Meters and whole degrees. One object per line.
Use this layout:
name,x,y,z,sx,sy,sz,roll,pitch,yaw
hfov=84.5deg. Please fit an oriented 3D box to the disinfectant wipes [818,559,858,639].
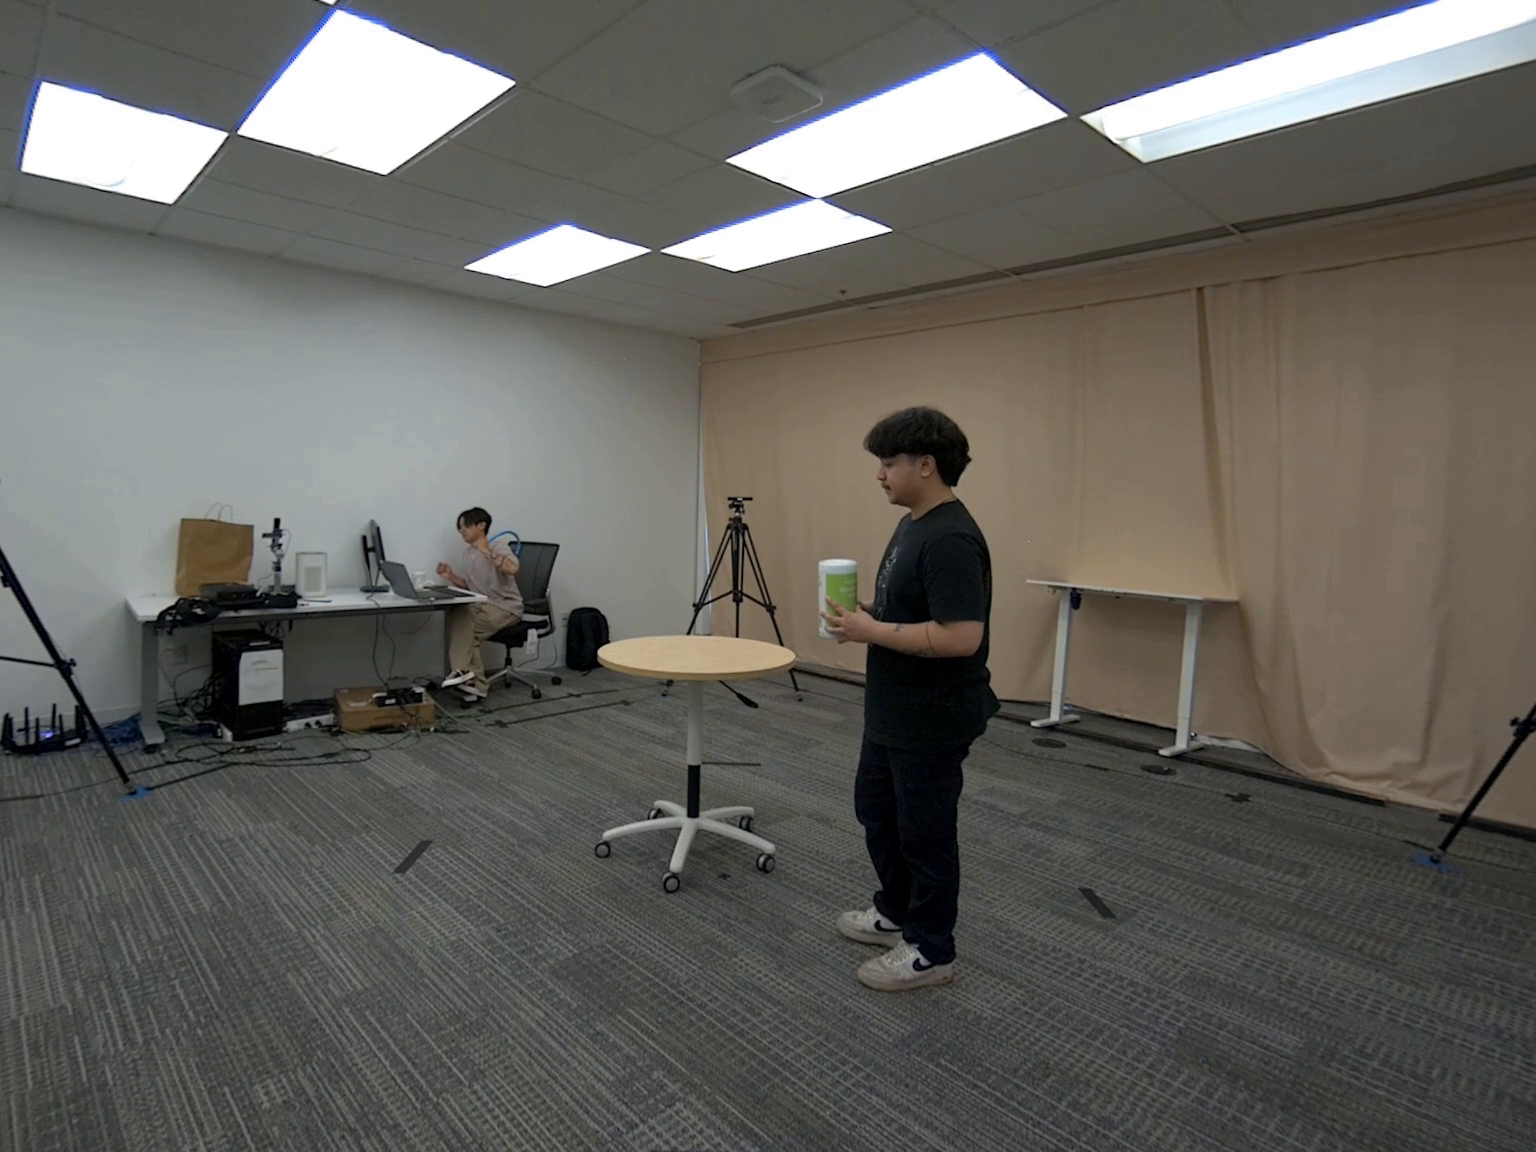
disinfectant wipes,0.196,0.067,2.401,0.118,0.216,0.118,-2,8,-1
